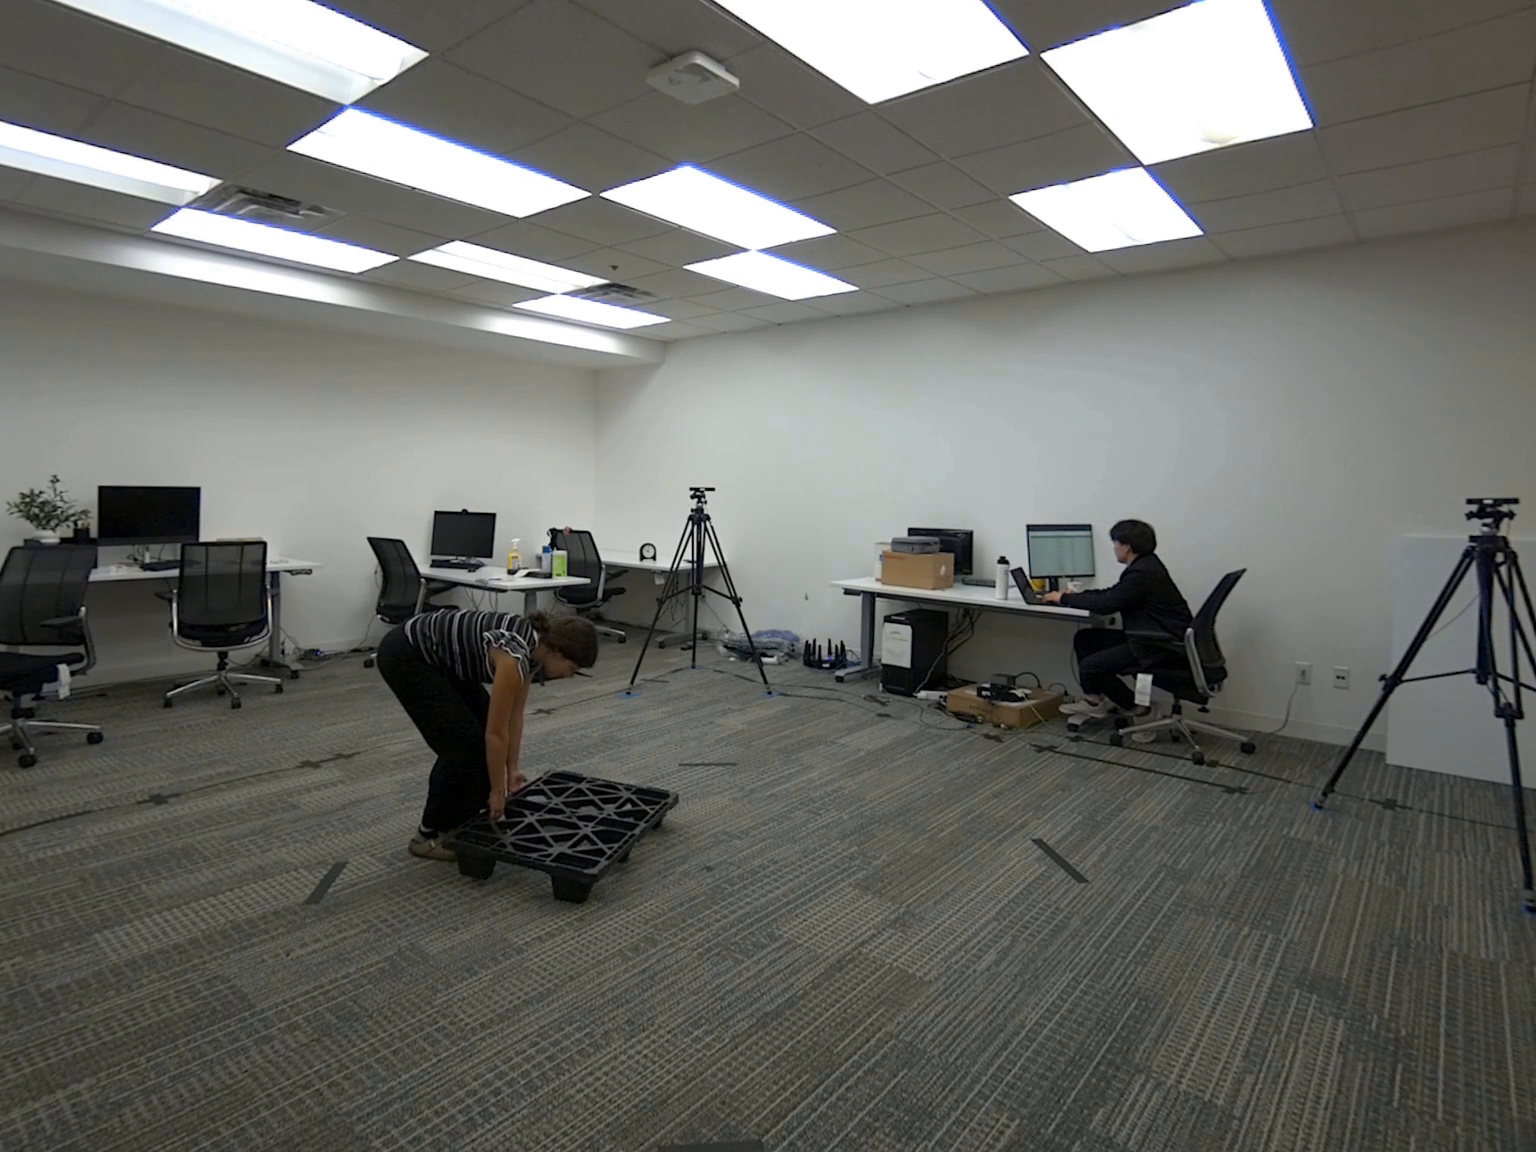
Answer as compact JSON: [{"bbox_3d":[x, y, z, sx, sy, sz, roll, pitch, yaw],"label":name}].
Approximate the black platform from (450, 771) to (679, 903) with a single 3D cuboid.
[{"bbox_3d":[-0.758,0.964,3.235,0.616,0.142,0.795,6,7,15],"label":"black platform"}]
